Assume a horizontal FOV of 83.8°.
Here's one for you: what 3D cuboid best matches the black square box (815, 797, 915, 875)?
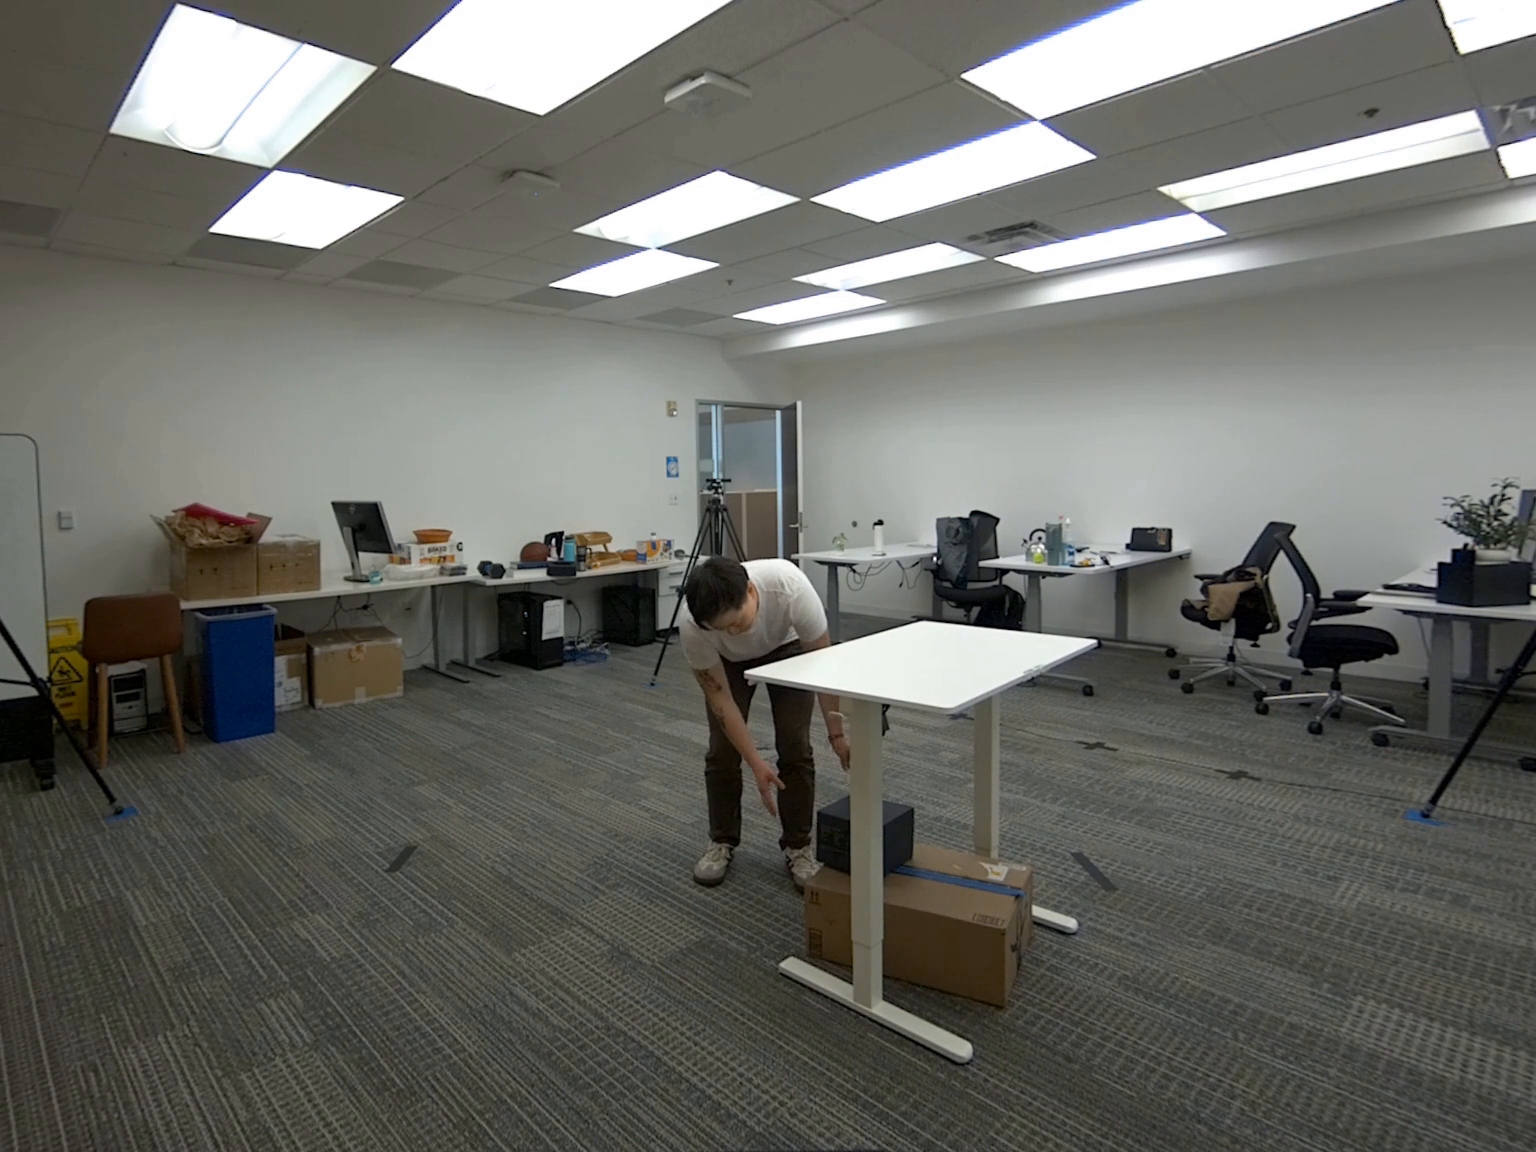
[{"bbox_3d":[0.304,0.788,2.626,0.223,0.155,0.222,3,5,37],"label":"black square box"}]
